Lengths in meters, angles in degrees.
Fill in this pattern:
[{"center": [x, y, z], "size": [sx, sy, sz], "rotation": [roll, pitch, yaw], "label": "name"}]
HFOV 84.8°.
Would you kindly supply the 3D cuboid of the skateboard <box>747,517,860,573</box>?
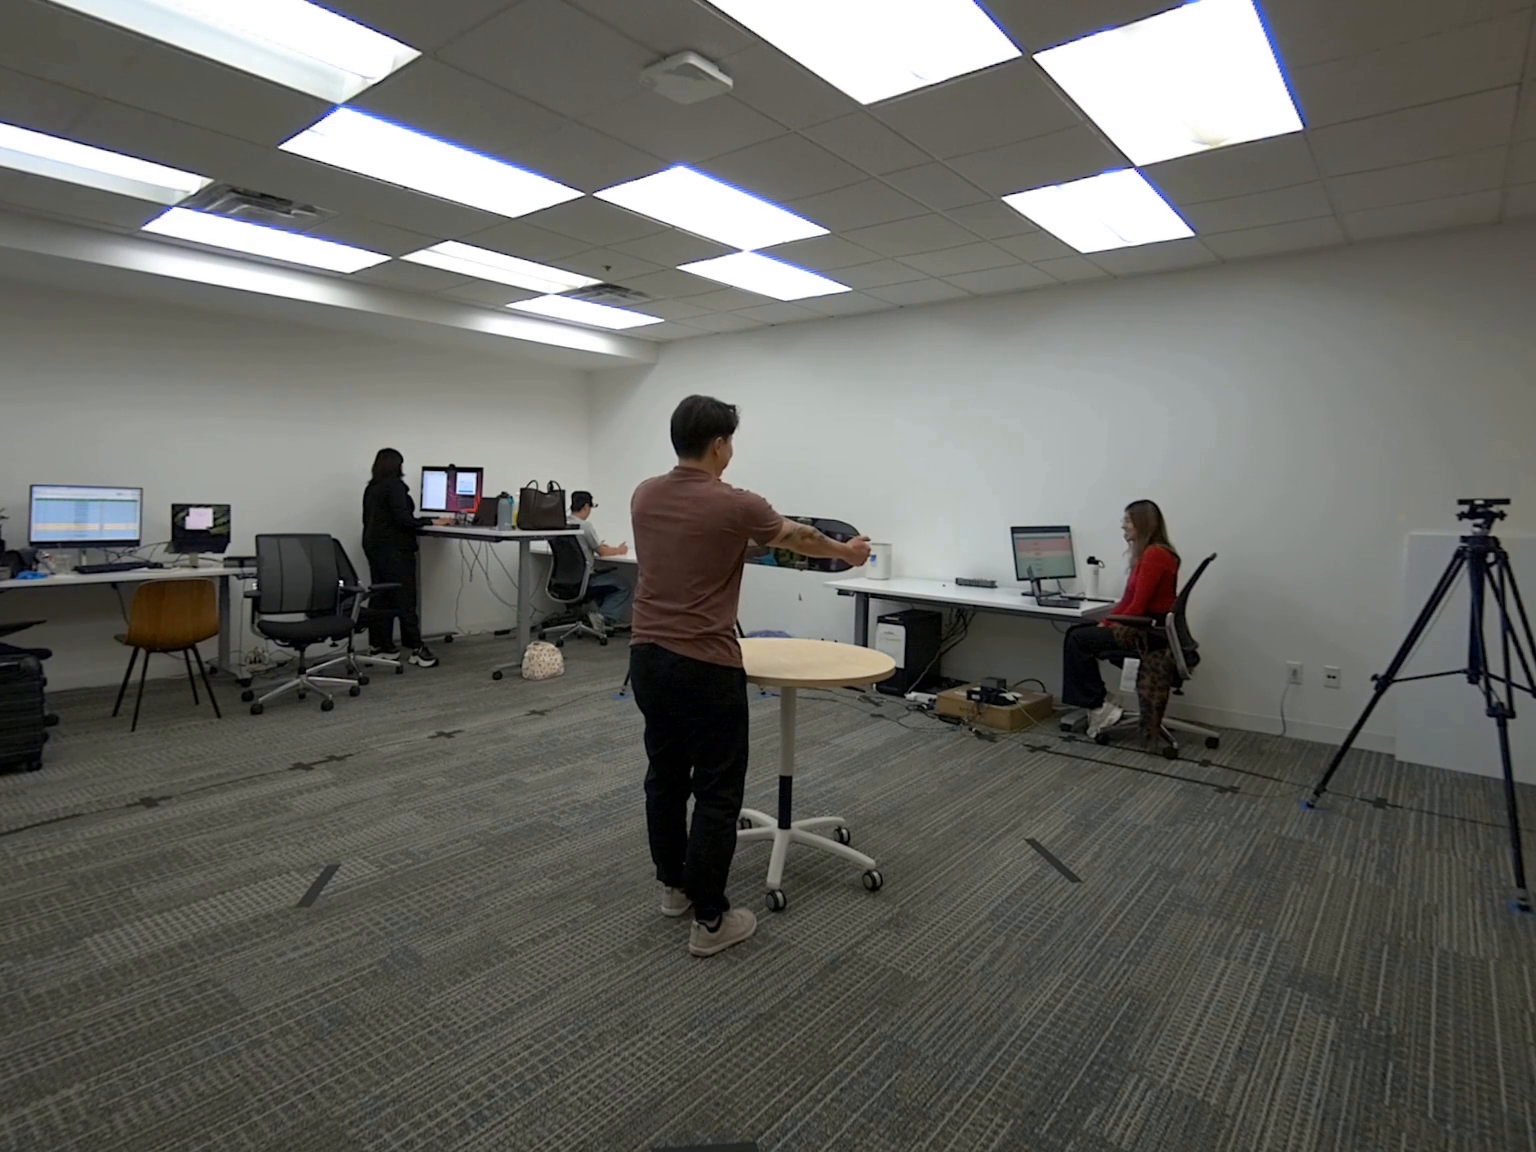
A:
[{"center": [-0.033, -0.131, 3.111], "size": [0.809, 0.192, 0.108], "rotation": [7, 12, 29], "label": "skateboard"}]
